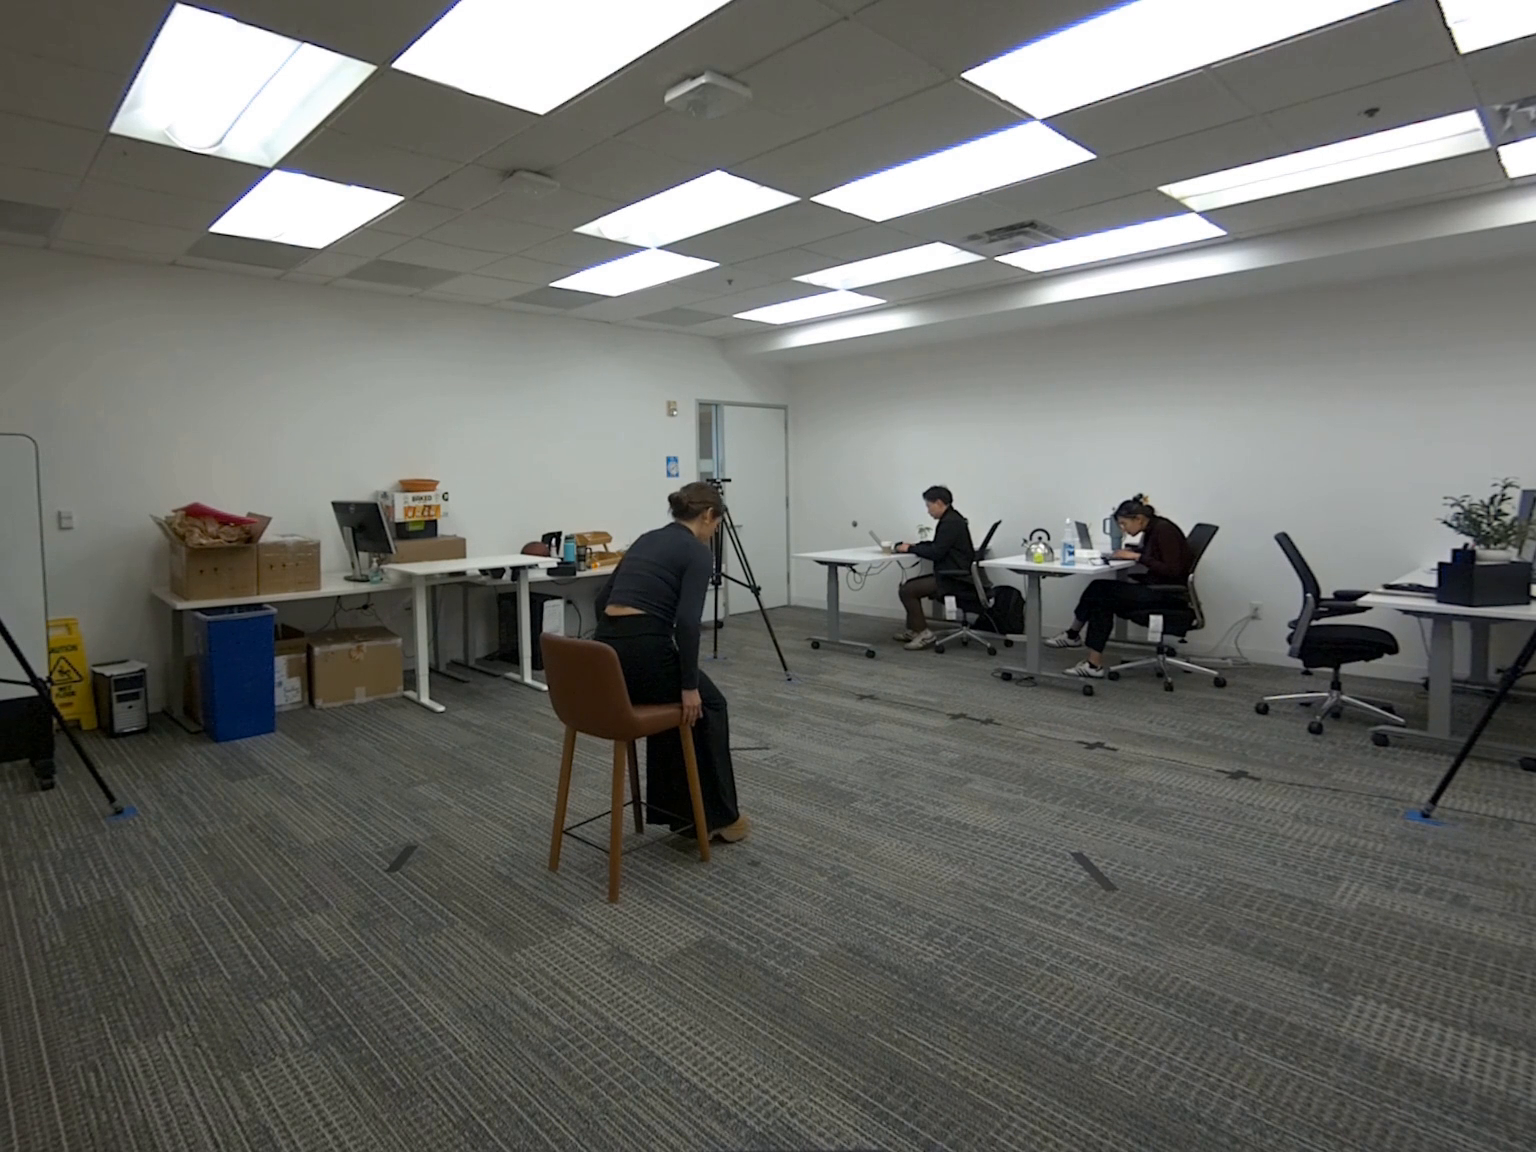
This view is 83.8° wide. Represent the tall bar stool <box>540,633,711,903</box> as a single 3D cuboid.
[{"bbox_3d":[-0.525,0.621,3.080,0.470,0.885,0.456,2,7,43],"label":"tall bar stool"}]
